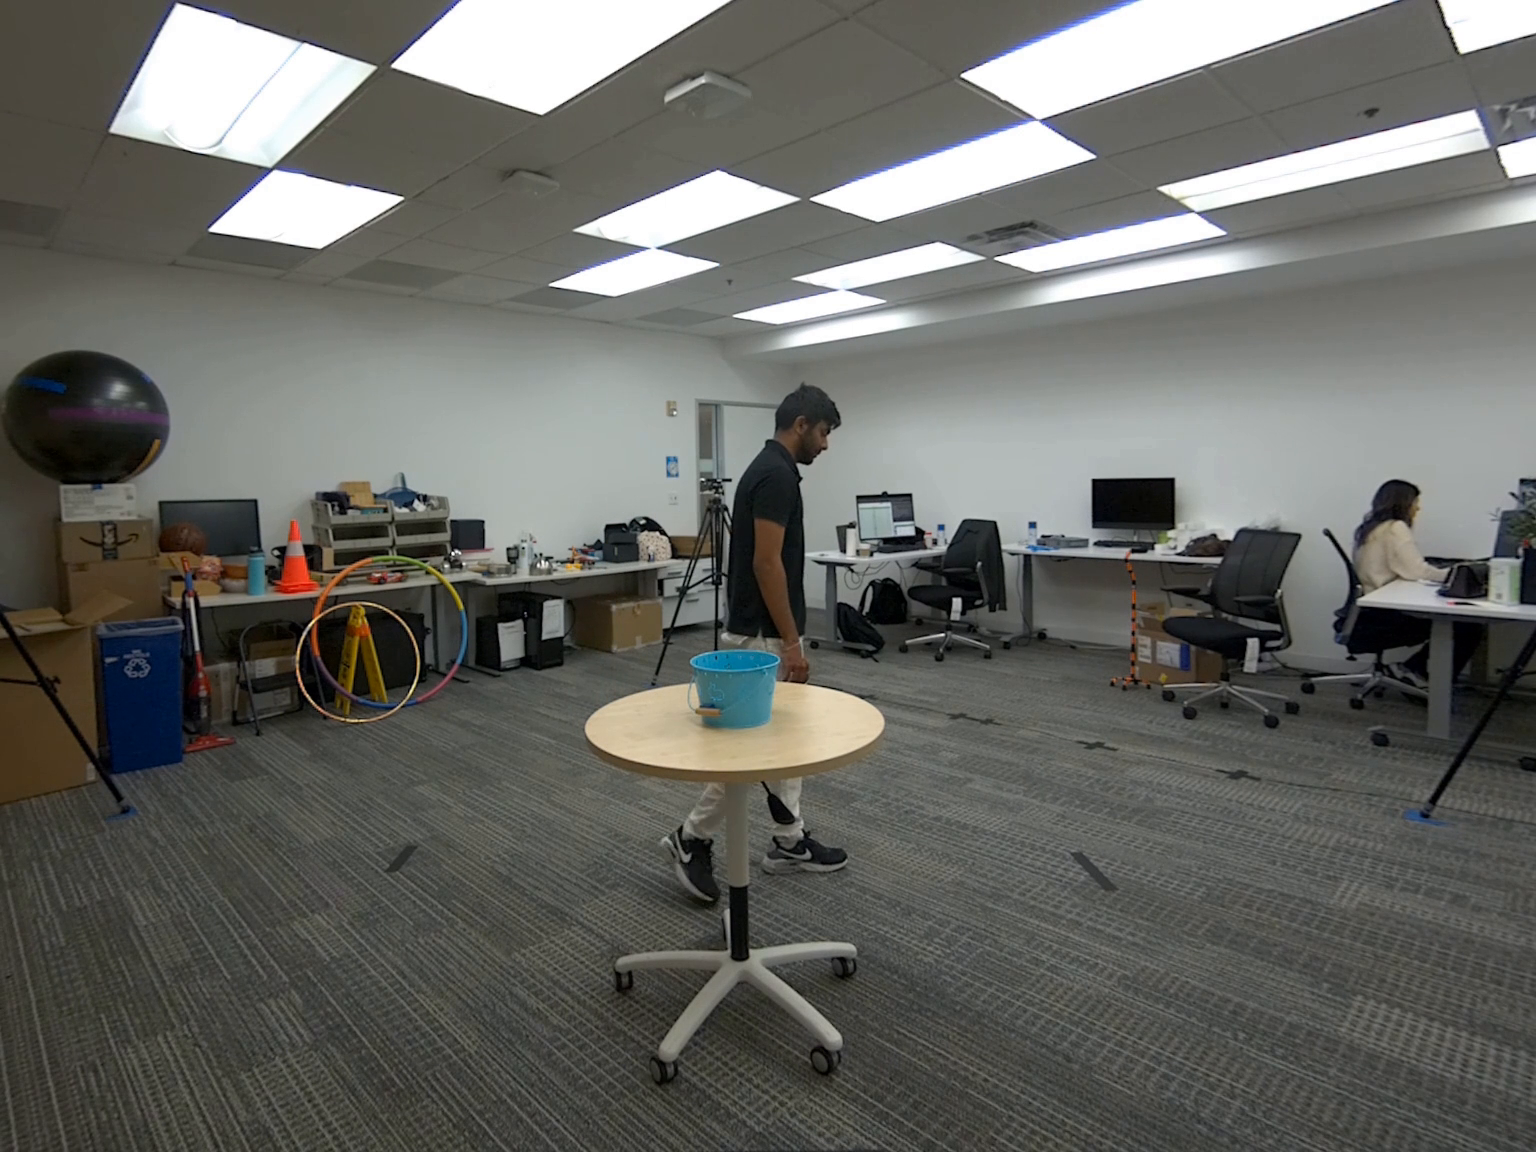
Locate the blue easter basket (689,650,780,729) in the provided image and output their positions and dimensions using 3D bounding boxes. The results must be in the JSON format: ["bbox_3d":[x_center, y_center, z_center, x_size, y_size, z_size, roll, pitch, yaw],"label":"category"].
[{"bbox_3d":[-0.090,0.297,2.202,0.243,0.155,0.245,-2,7,-2],"label":"blue easter basket"}]
